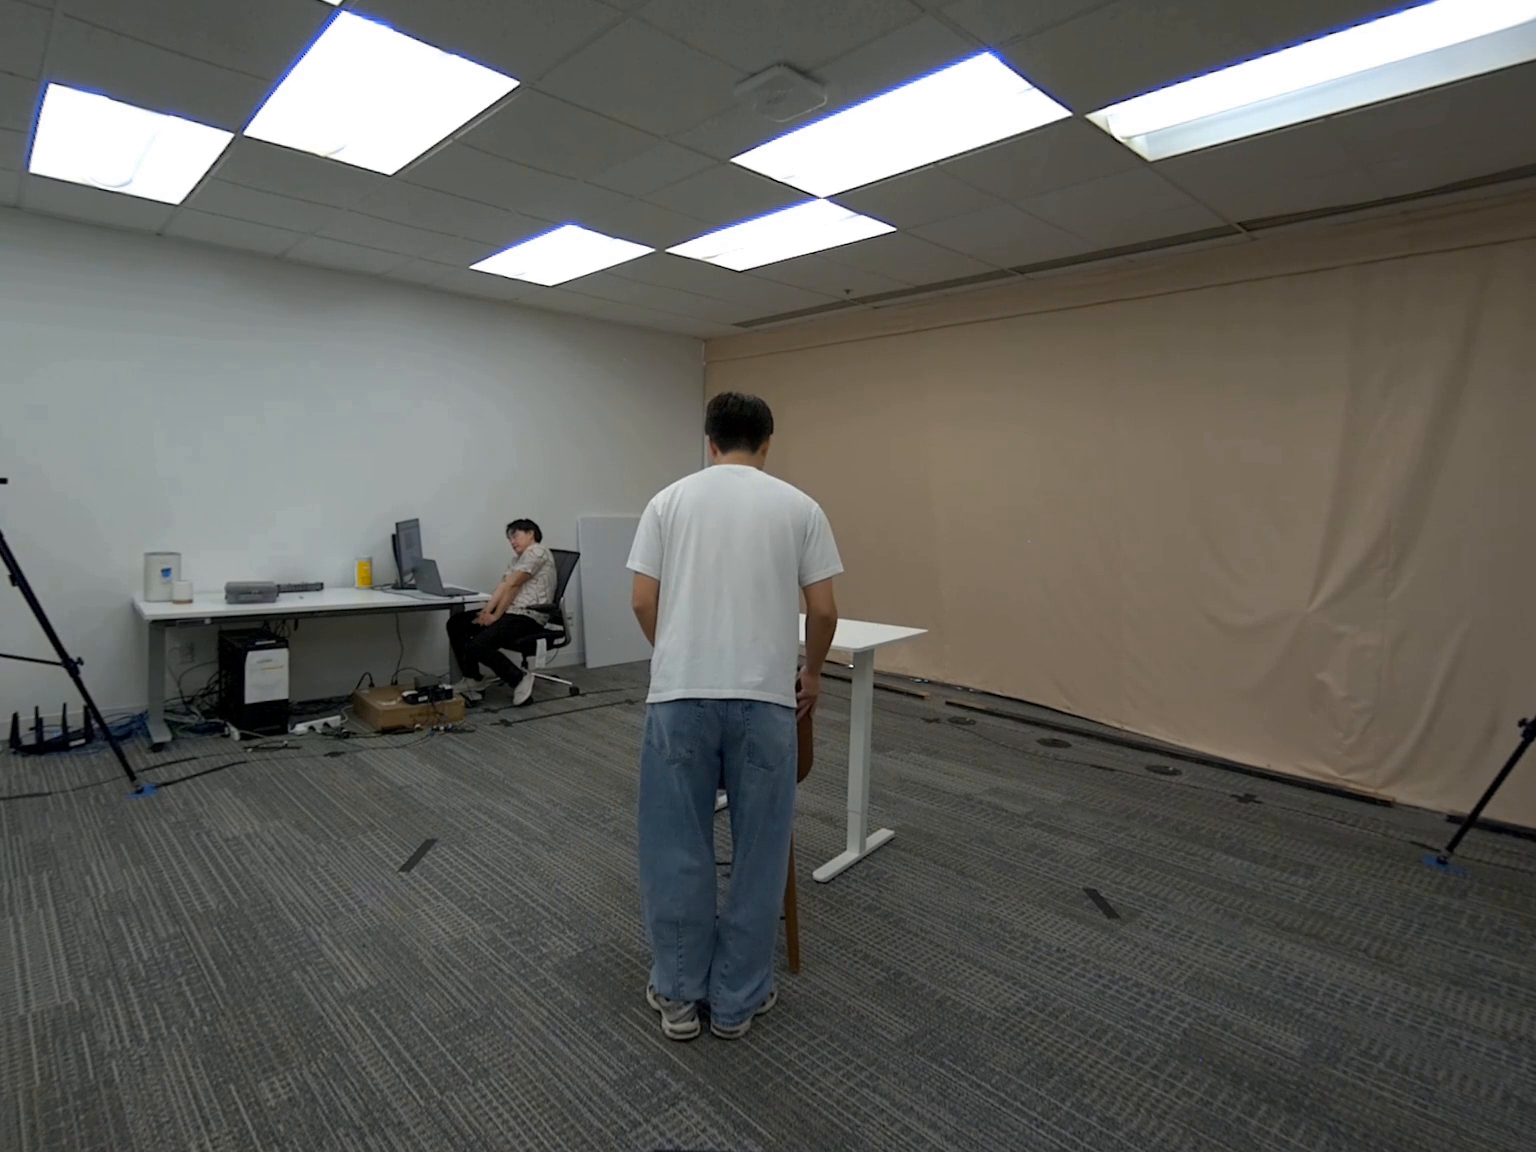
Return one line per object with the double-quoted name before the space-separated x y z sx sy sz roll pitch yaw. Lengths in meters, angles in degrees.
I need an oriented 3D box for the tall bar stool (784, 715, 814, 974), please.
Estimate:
"tall bar stool" -0.113 0.713 2.666 0.456 0.886 0.470 1 6 -3
